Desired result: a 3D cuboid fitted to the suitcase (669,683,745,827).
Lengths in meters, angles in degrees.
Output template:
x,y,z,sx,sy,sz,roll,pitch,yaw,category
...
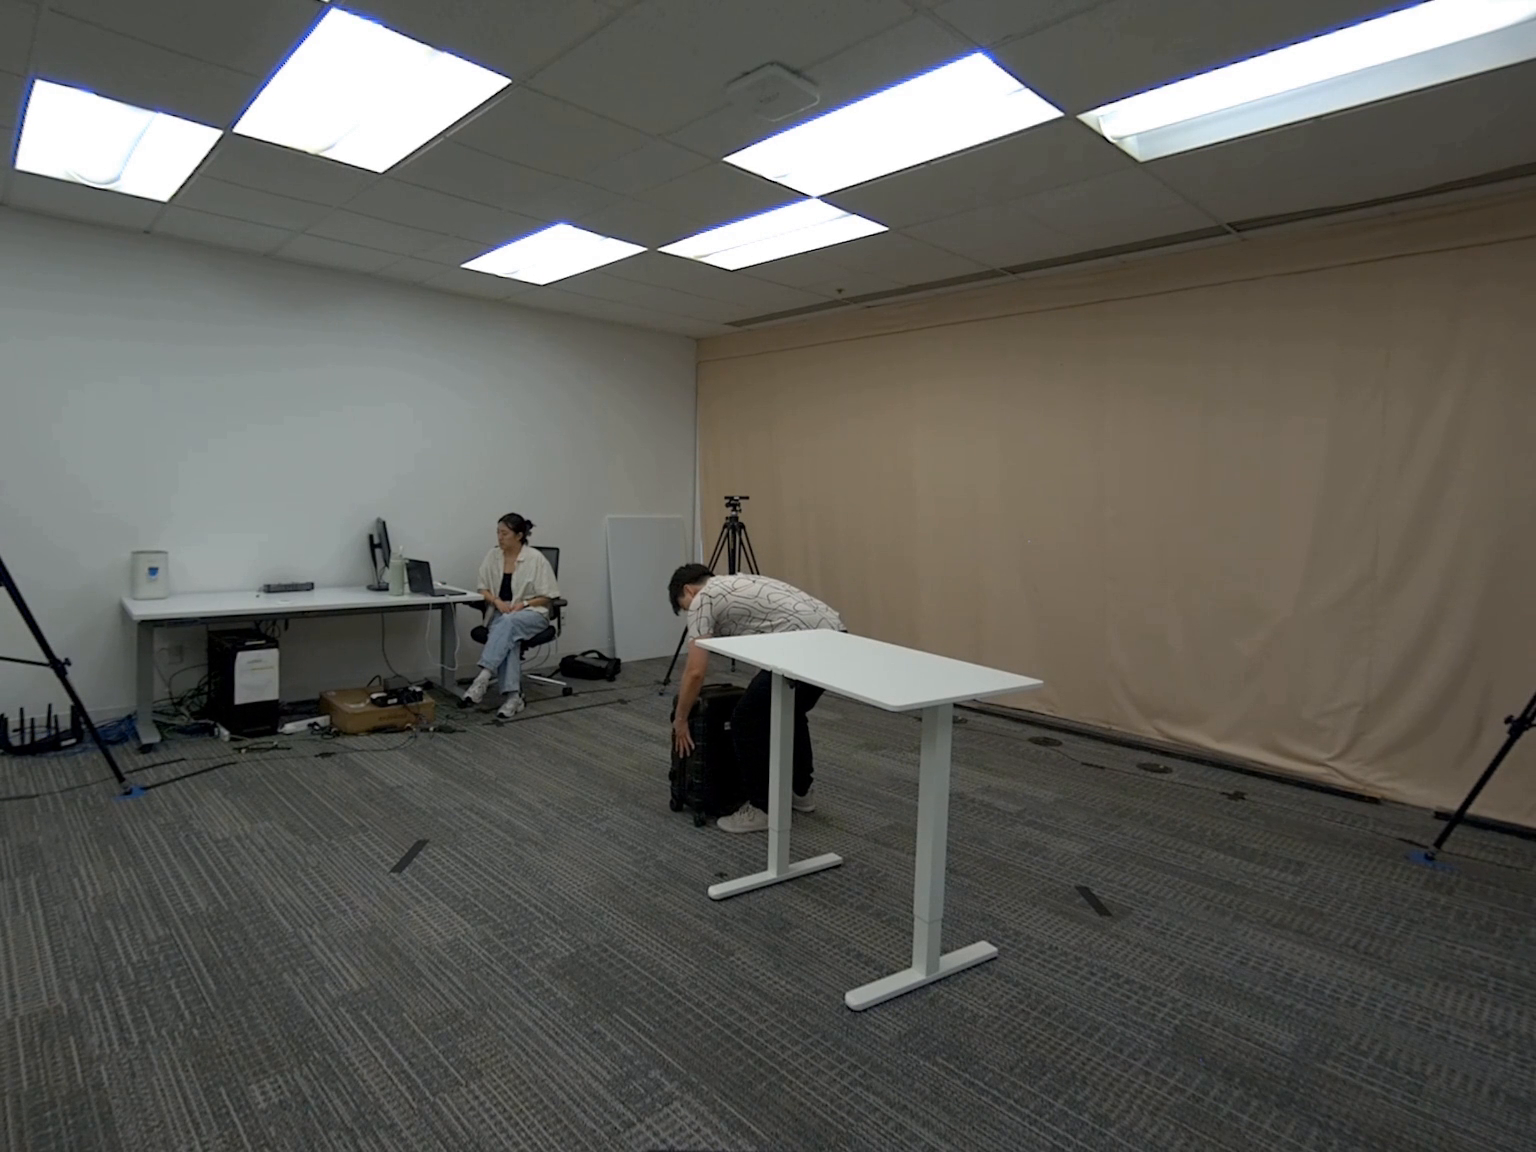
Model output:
x,y,z,sx,sy,sz,roll,pitch,yaw,category
-0.242,0.763,3.743,0.367,0.548,0.254,-2,3,-37,suitcase
